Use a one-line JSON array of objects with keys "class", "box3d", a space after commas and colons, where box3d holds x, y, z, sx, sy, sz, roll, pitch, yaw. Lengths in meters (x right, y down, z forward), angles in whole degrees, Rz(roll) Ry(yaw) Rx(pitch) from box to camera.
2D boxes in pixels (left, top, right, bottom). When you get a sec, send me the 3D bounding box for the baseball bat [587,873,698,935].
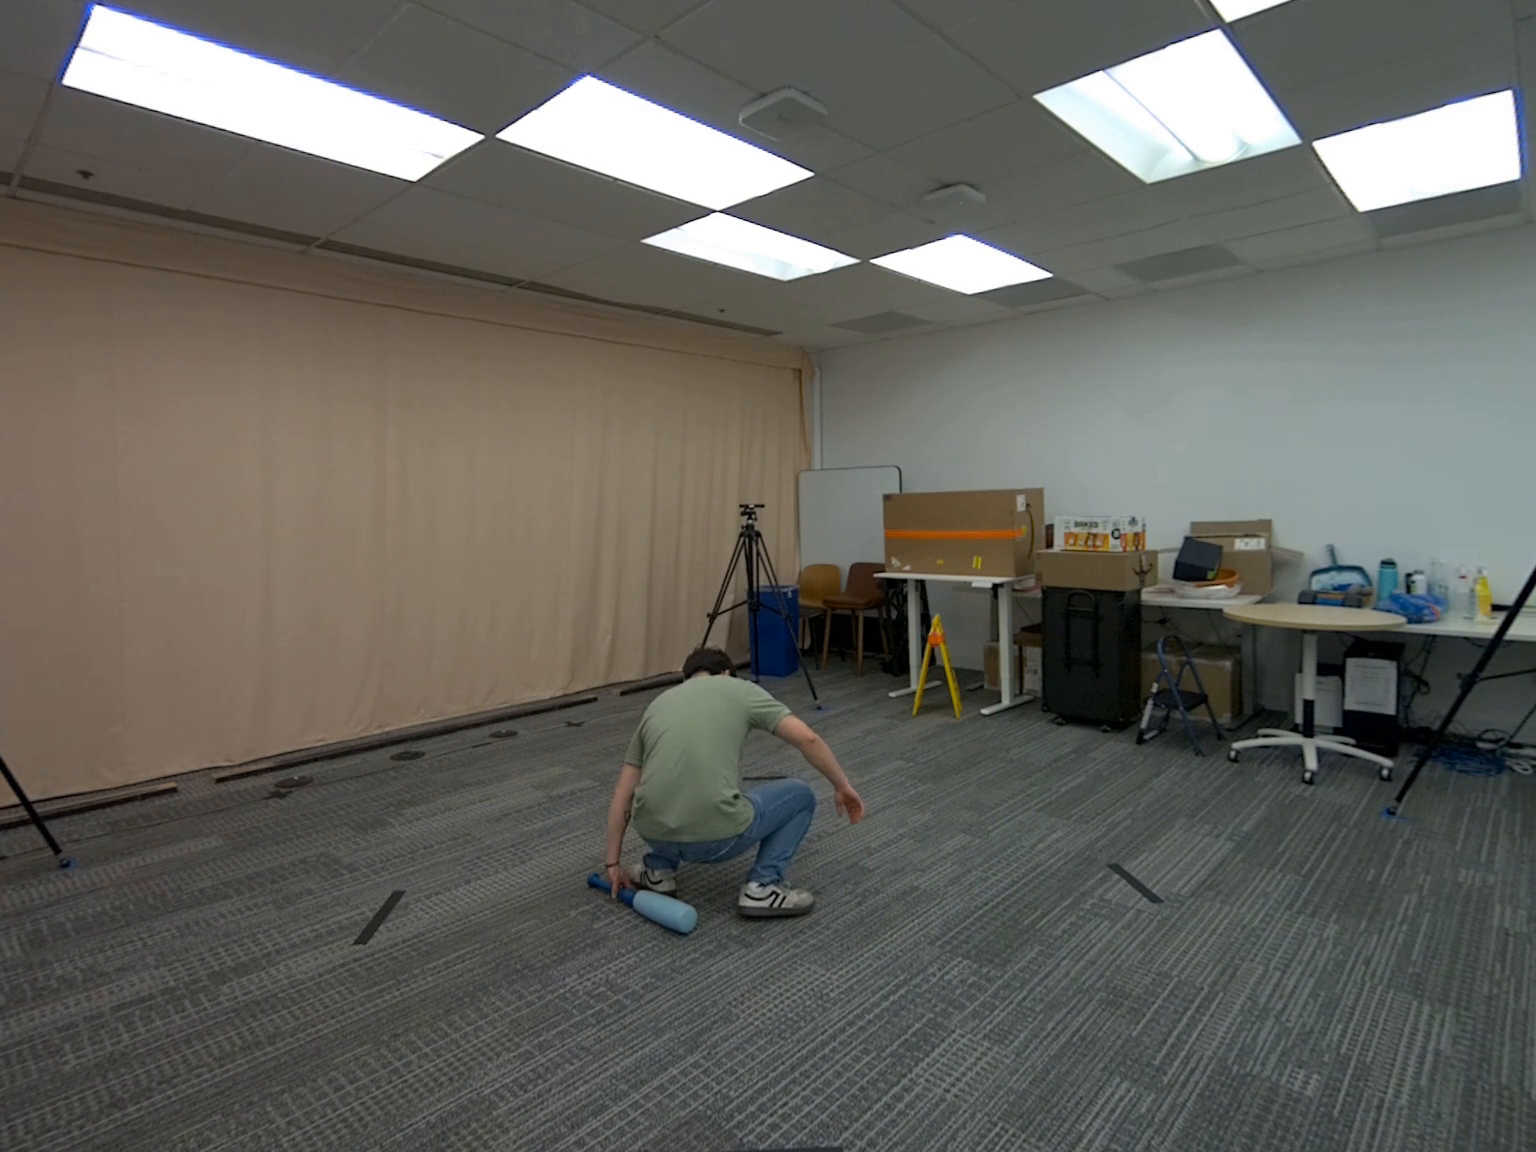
[{"class": "baseball bat", "box3d": [-0.444, 1.115, 2.917, 0.086, 0.089, 0.560, -5, 2, -44]}]
